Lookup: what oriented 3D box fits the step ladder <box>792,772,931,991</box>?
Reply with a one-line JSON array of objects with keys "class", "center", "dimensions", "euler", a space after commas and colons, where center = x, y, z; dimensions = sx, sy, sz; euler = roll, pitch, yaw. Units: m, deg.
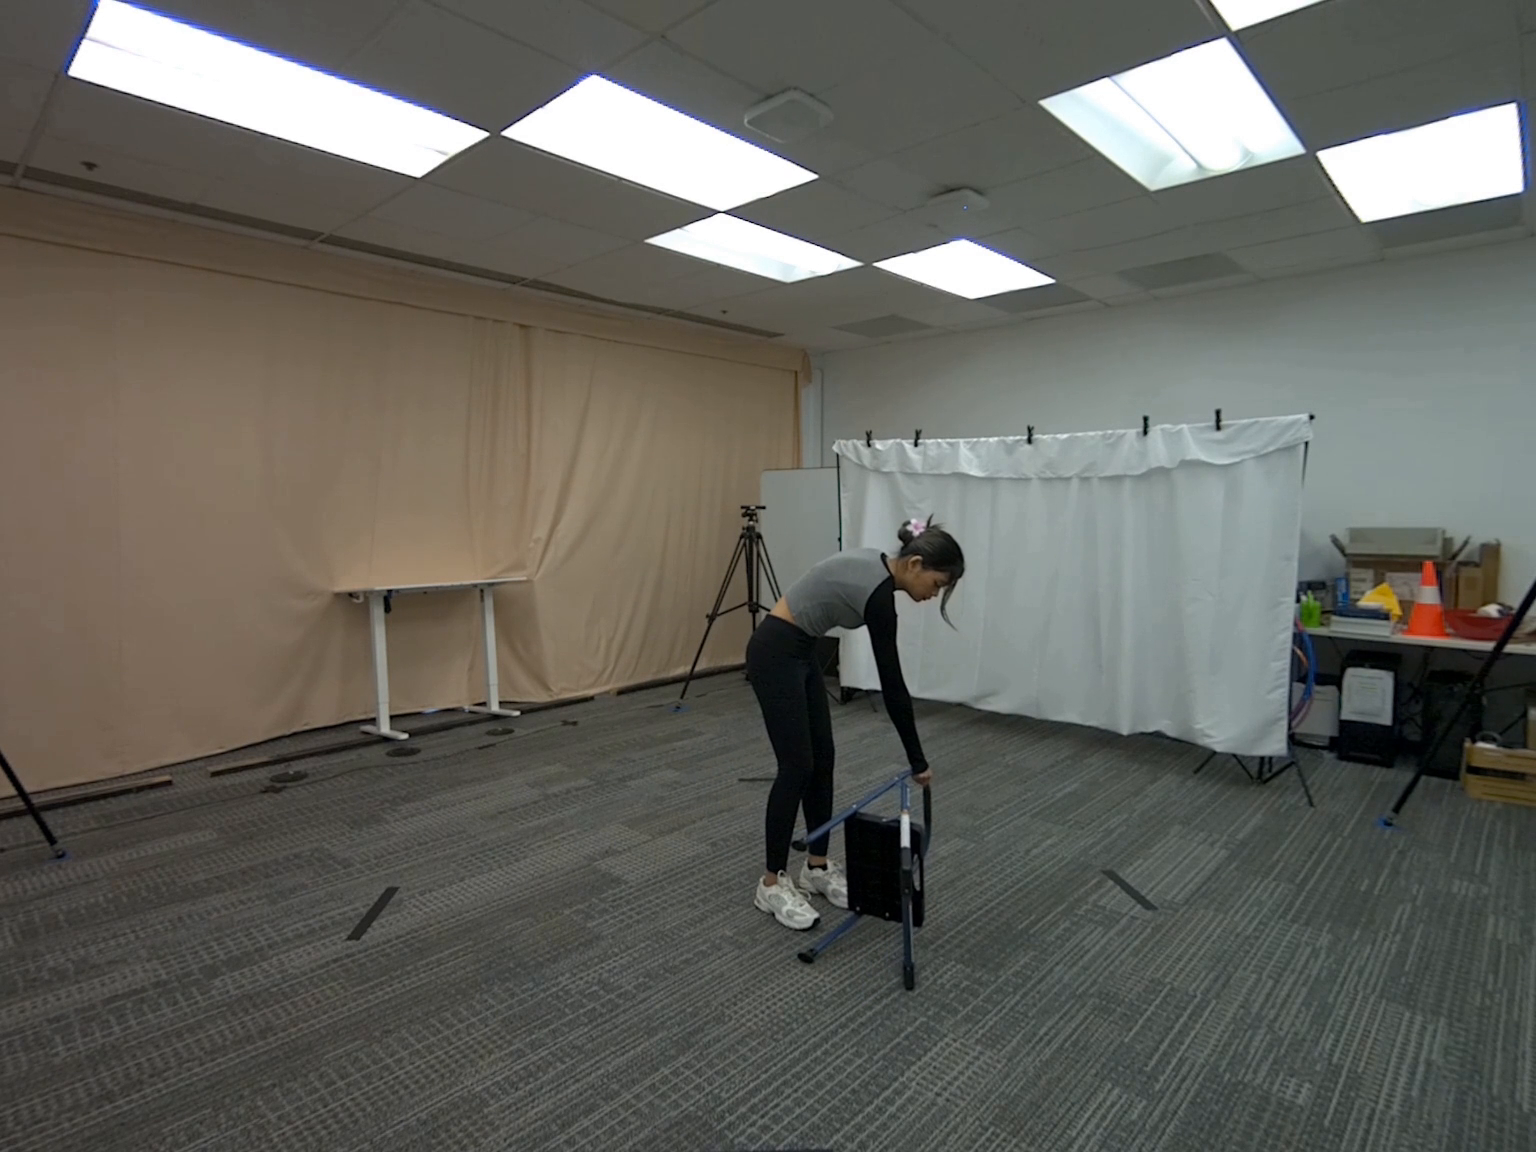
[{"class": "step ladder", "center": [0.363, 0.895, 2.679], "dimensions": [0.358, 0.425, 0.597], "euler": [5, 20, 25]}]
